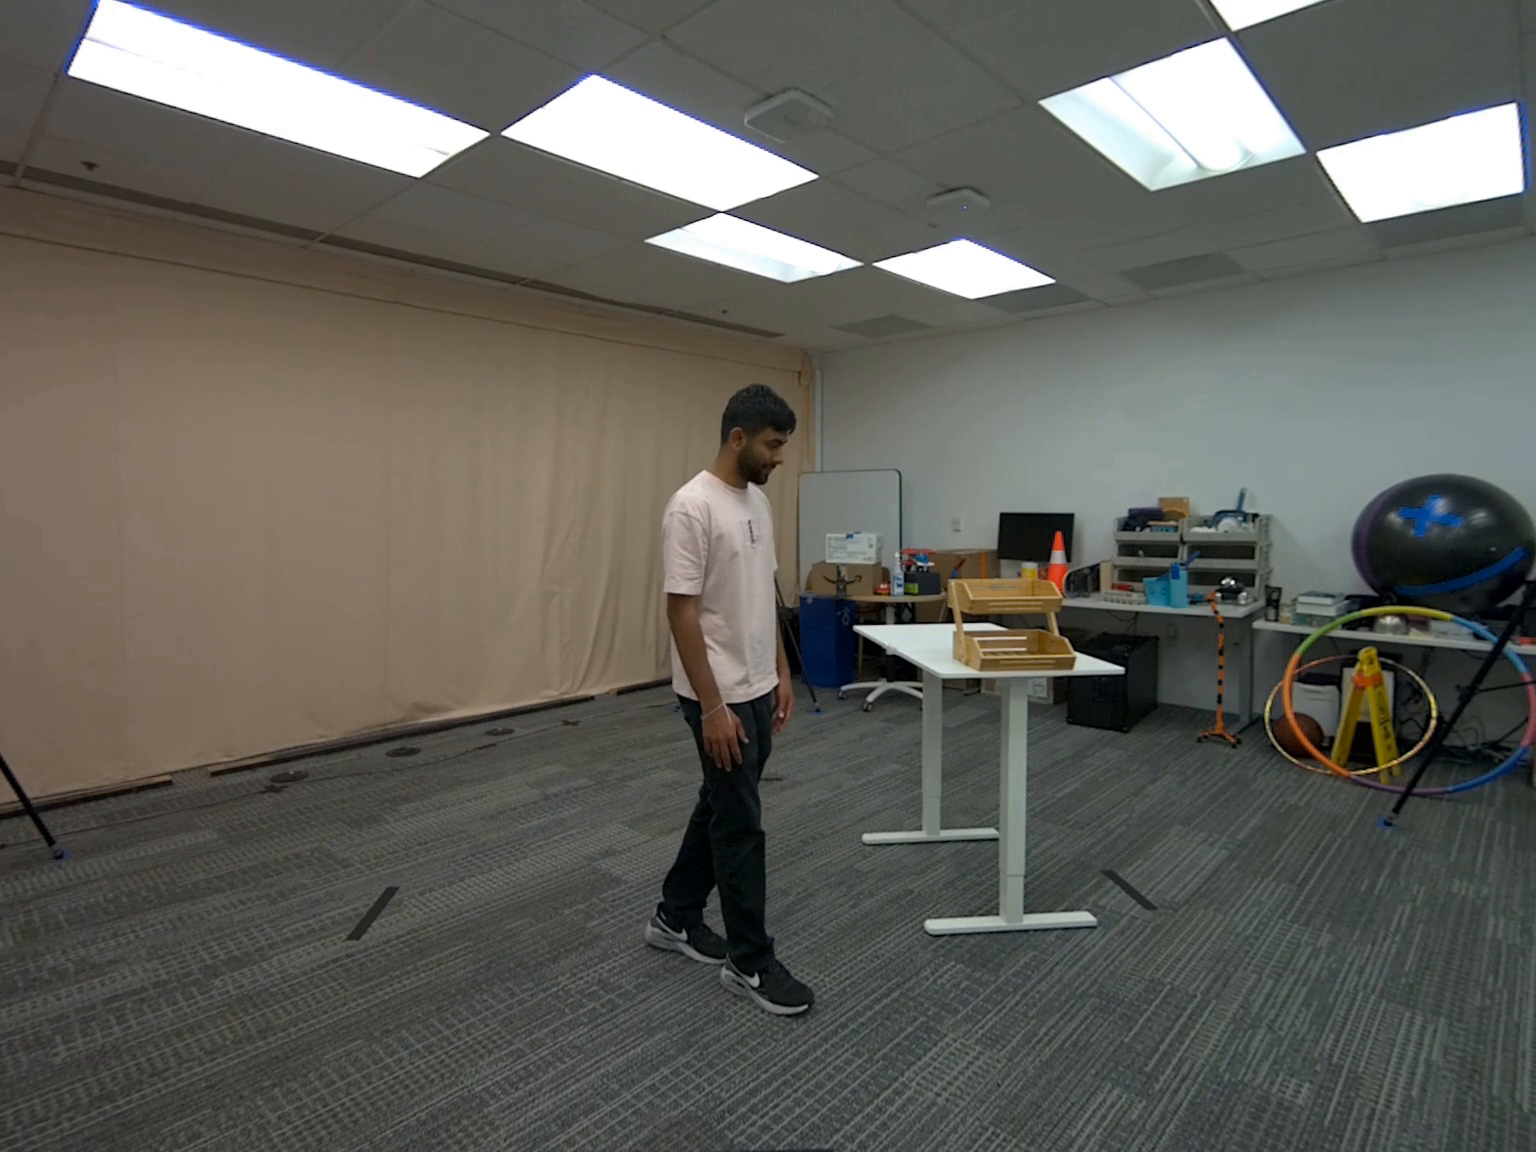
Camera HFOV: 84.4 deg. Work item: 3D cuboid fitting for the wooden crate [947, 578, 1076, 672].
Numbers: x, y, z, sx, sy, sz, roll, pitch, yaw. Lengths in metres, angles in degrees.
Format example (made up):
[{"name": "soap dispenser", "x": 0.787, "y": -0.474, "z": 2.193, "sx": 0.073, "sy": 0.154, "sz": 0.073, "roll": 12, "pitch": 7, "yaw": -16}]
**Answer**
[{"name": "wooden crate", "x": 0.799, "y": 0.154, "z": 2.715, "sx": 0.322, "sy": 0.273, "sz": 0.304, "roll": 0, "pitch": 4, "yaw": -6}]
